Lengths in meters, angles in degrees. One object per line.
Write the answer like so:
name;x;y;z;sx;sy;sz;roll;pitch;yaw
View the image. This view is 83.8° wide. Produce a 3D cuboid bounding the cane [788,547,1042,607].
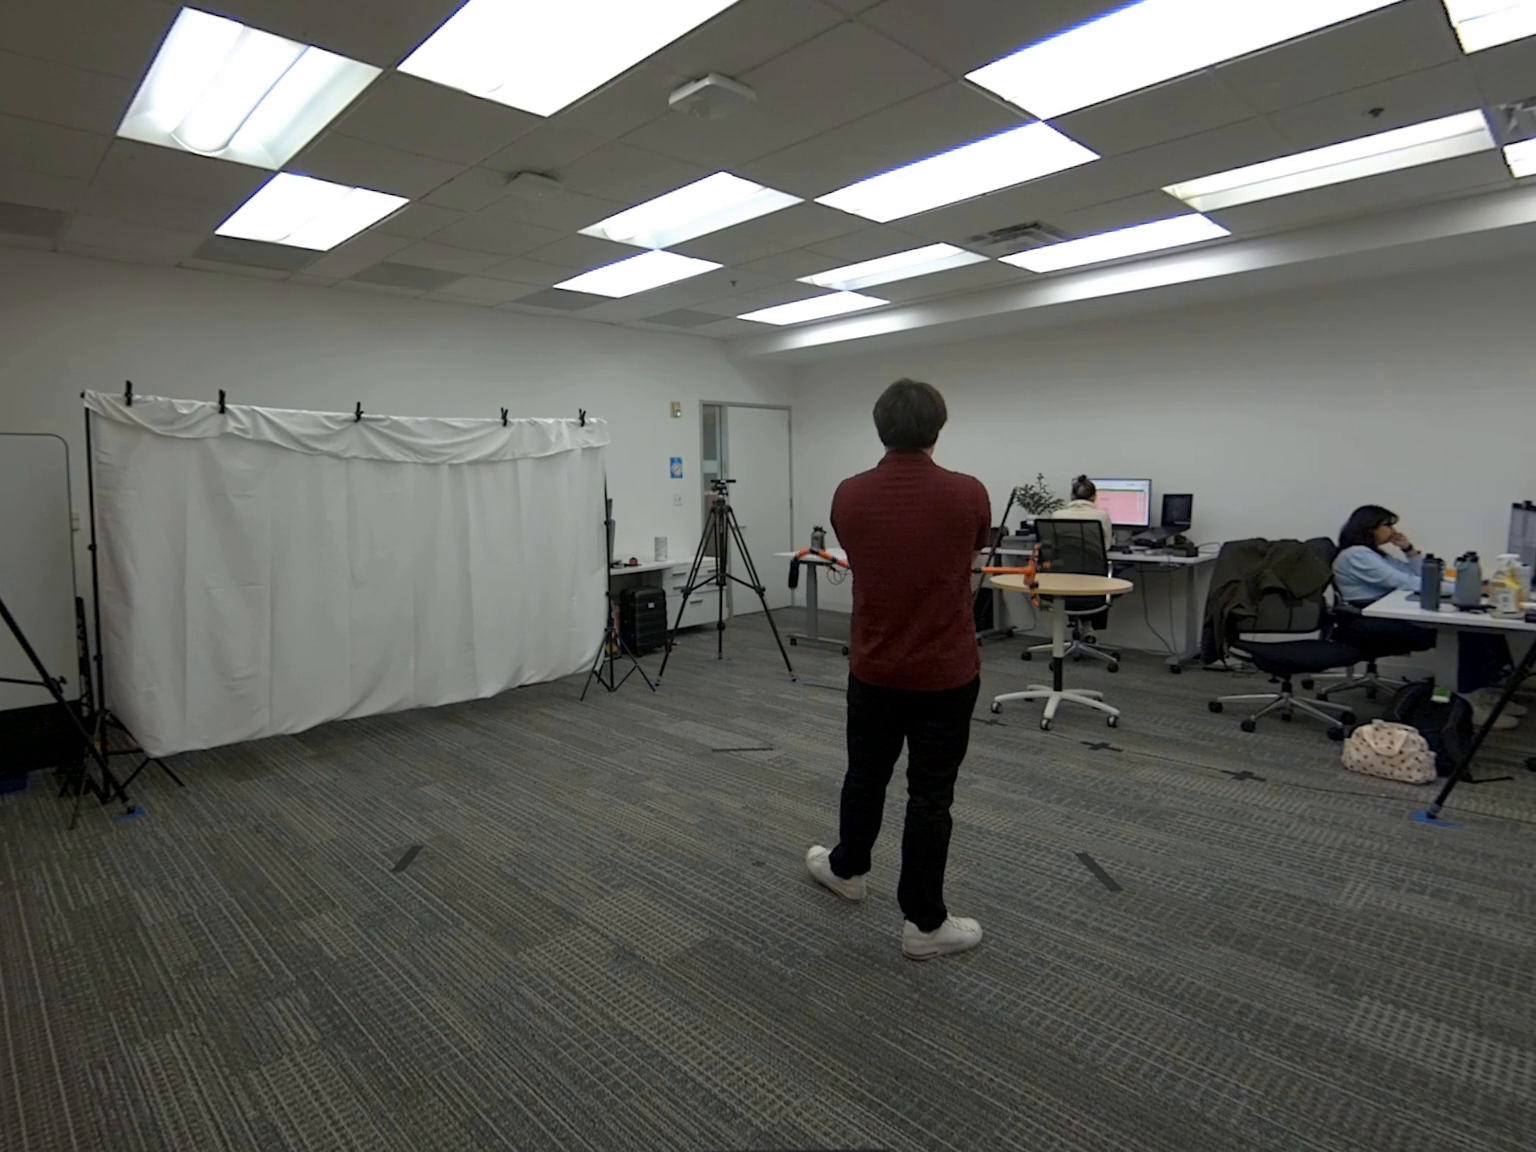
cane;0.537;-0.020;2.996;0.906;0.202;0.155;-2;26;-2
